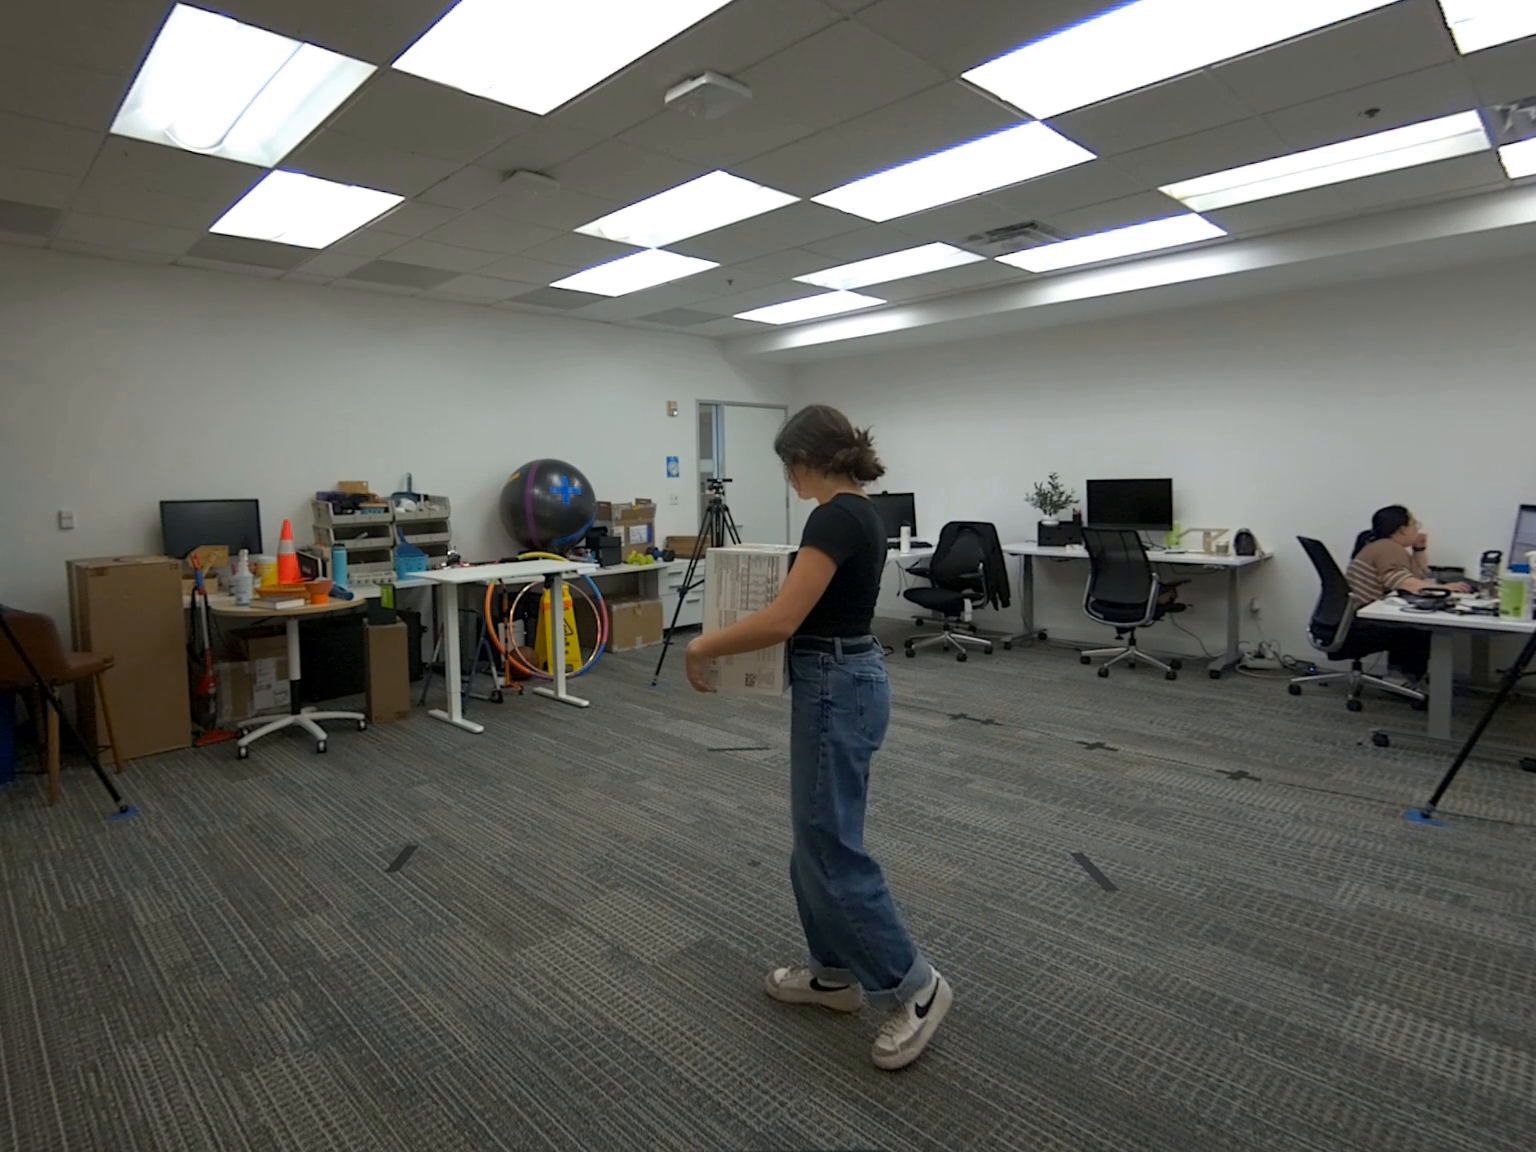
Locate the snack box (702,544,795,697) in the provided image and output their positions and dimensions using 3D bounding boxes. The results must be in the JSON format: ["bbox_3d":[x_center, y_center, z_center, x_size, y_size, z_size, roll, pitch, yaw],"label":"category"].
[{"bbox_3d":[-0.011,0.094,2.207,0.208,0.340,0.401,3,3,12],"label":"snack box"}]
